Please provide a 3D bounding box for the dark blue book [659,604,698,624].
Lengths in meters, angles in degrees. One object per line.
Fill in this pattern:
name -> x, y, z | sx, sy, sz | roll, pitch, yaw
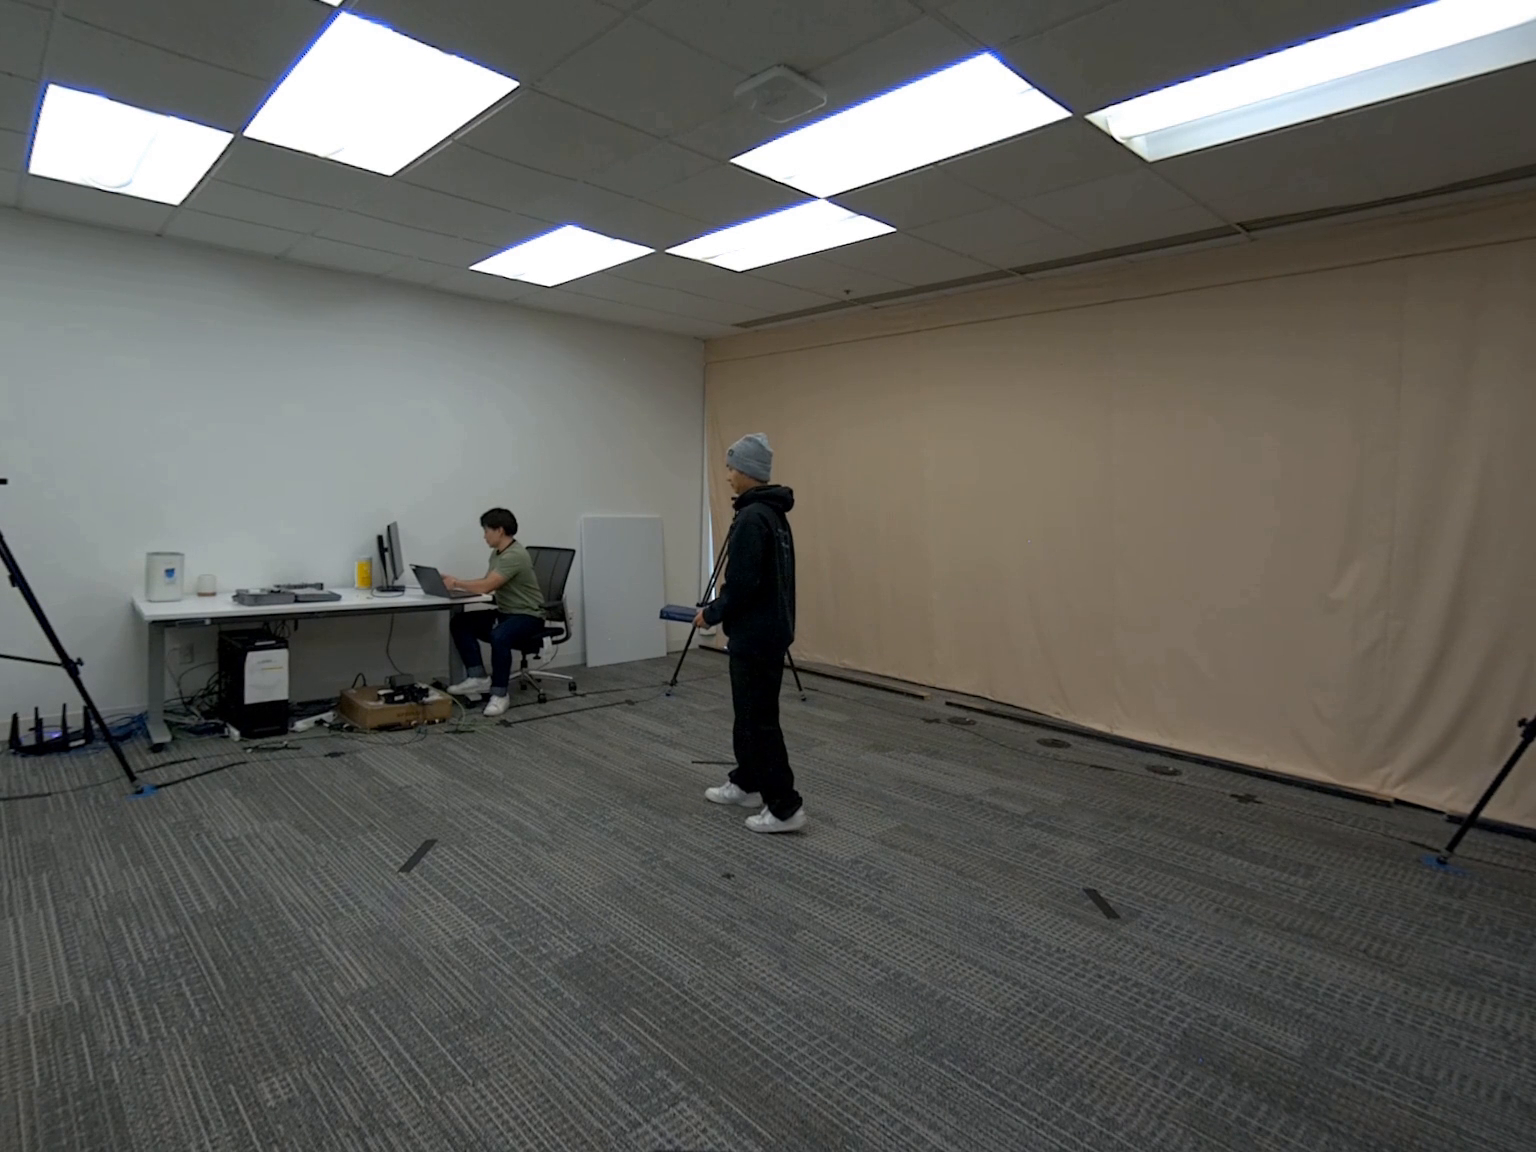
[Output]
dark blue book -> -0.356, 0.168, 3.736 | 0.247, 0.045, 0.163 | 8, 9, 10
